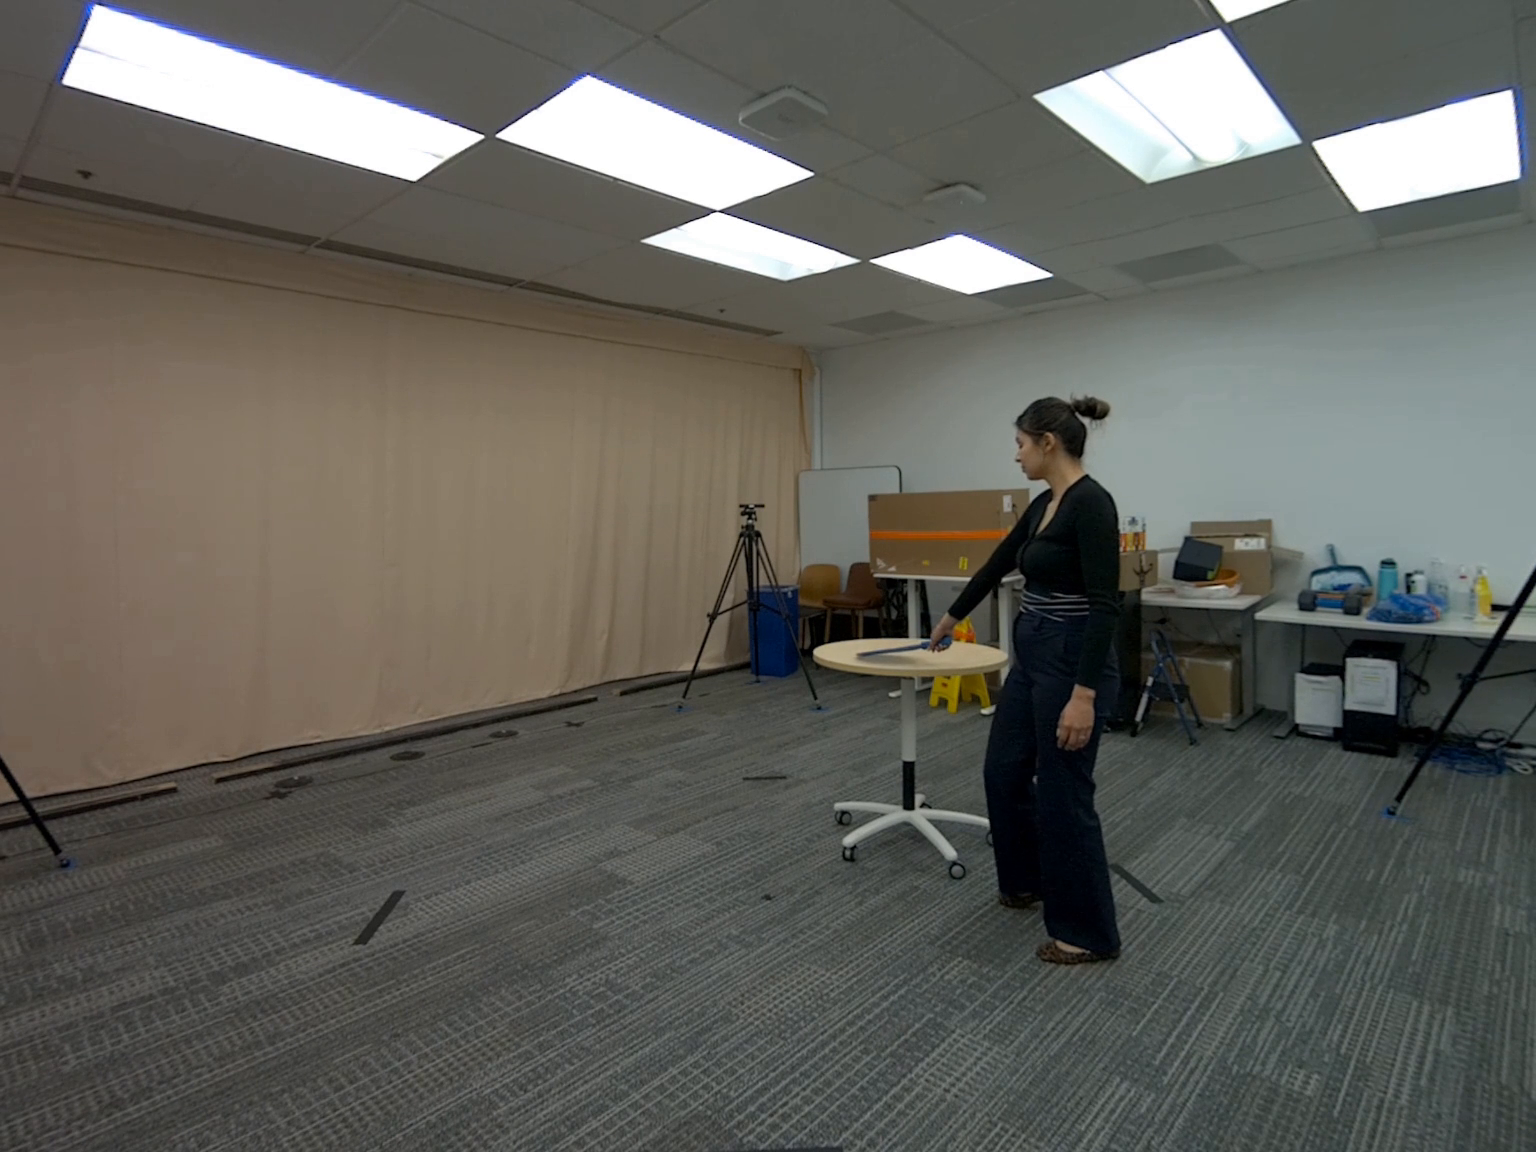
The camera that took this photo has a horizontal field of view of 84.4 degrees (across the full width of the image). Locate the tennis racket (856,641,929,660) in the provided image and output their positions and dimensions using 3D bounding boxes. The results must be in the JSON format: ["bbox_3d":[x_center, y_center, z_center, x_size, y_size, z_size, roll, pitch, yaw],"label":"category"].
[{"bbox_3d":[0.514,0.269,3.192,0.207,0.032,0.443,1,-12,-40],"label":"tennis racket"}]
